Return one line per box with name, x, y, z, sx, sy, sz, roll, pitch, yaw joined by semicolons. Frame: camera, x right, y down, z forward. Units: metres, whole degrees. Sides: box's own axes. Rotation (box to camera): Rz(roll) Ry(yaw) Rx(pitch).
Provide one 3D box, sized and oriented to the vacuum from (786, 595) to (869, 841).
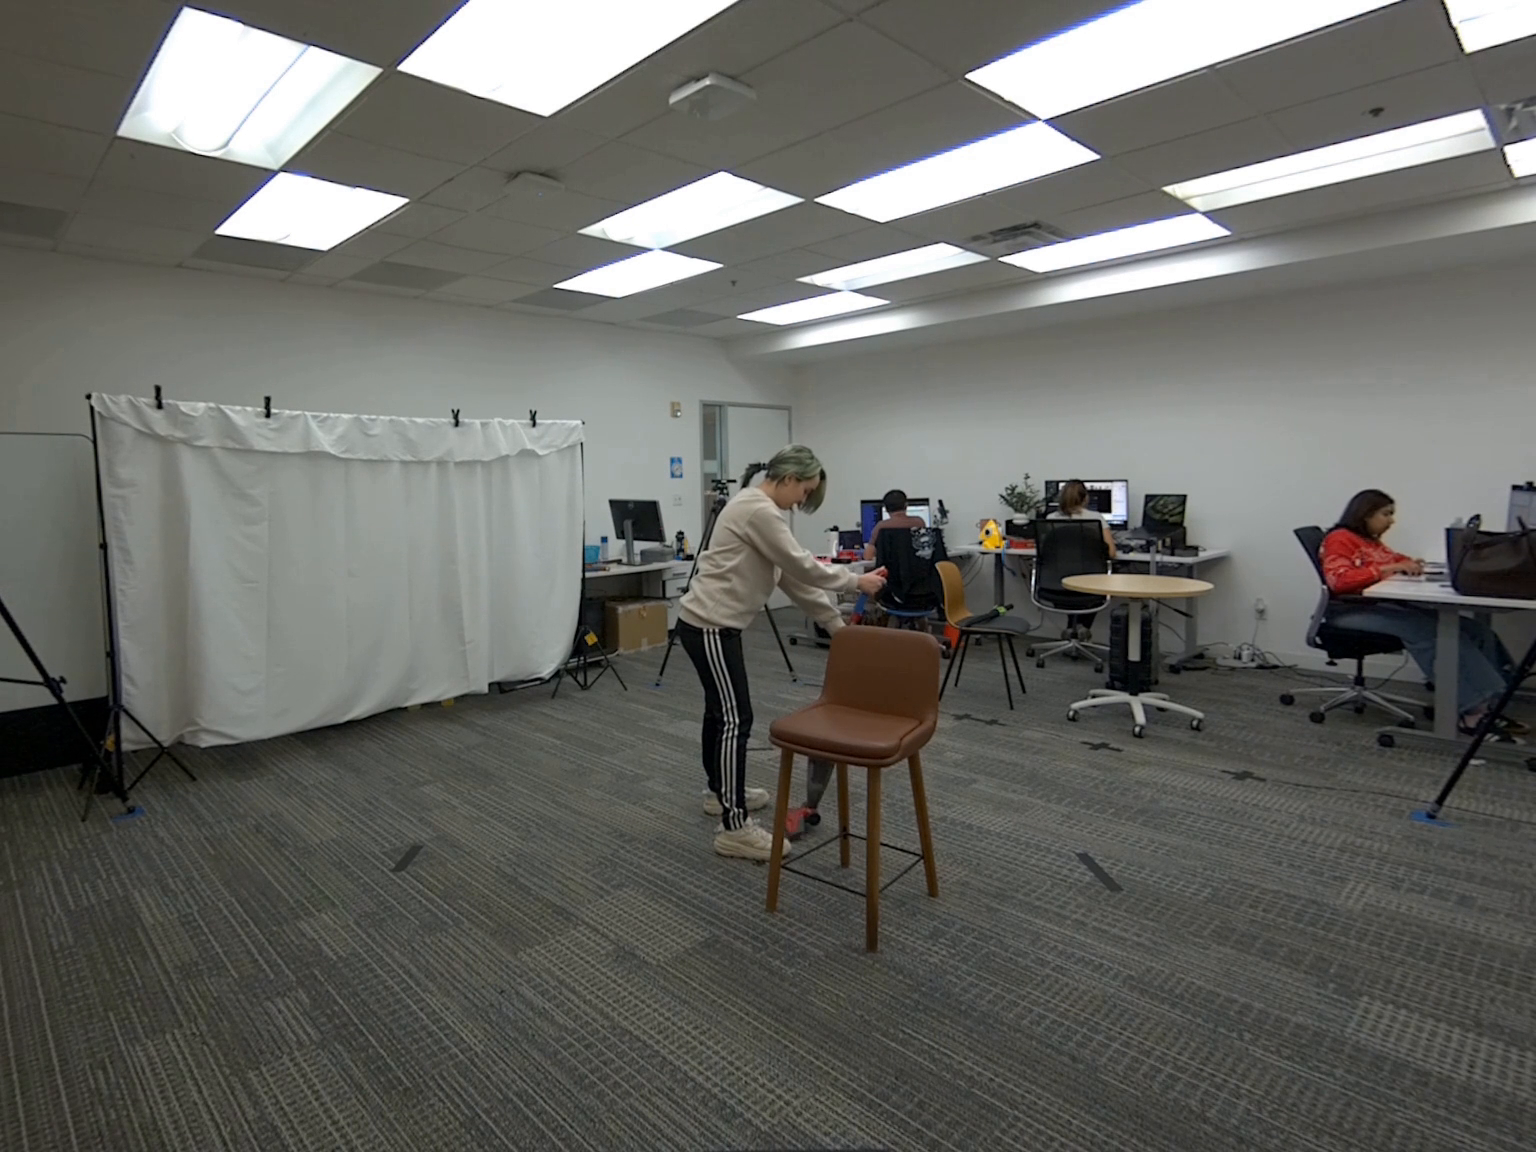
vacuum;0.297;0.499;3.425;0.140;1.050;0.259;20;-2;-26
